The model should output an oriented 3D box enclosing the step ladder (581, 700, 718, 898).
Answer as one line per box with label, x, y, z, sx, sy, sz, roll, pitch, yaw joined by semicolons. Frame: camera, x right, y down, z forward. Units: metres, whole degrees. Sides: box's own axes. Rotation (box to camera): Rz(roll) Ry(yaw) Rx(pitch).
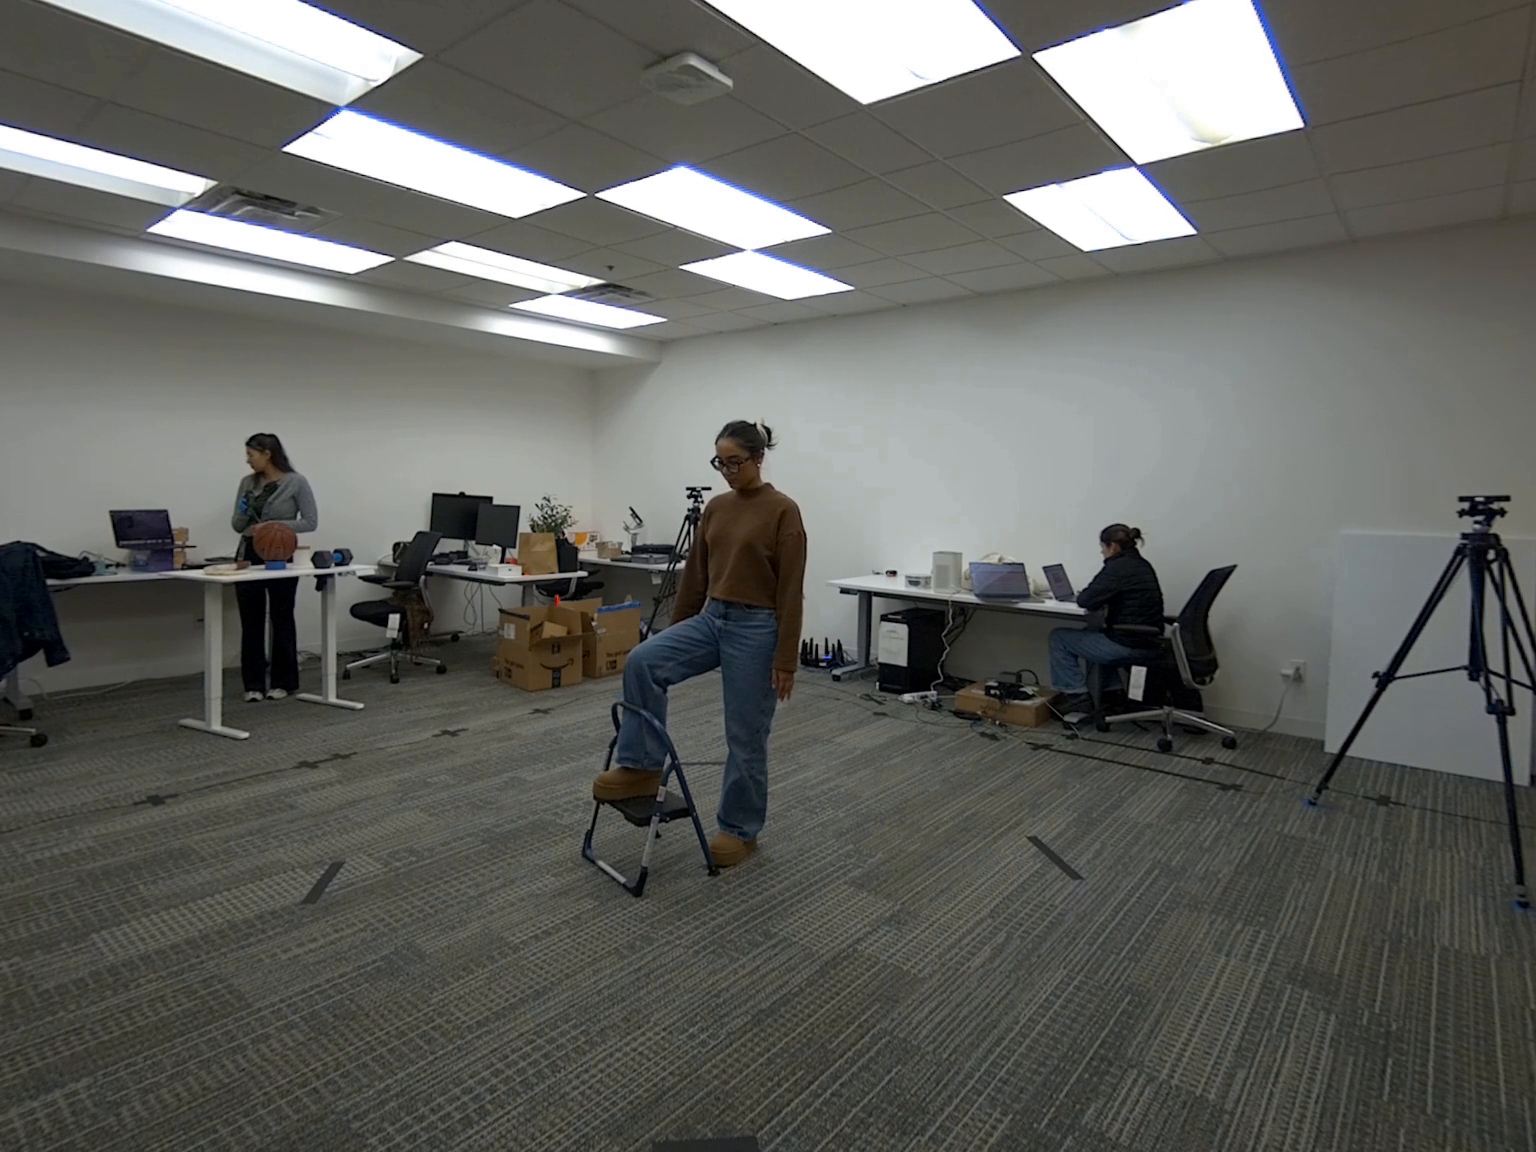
step ladder;-0.445;0.759;3.116;0.339;0.604;0.445;-2;5;-39
